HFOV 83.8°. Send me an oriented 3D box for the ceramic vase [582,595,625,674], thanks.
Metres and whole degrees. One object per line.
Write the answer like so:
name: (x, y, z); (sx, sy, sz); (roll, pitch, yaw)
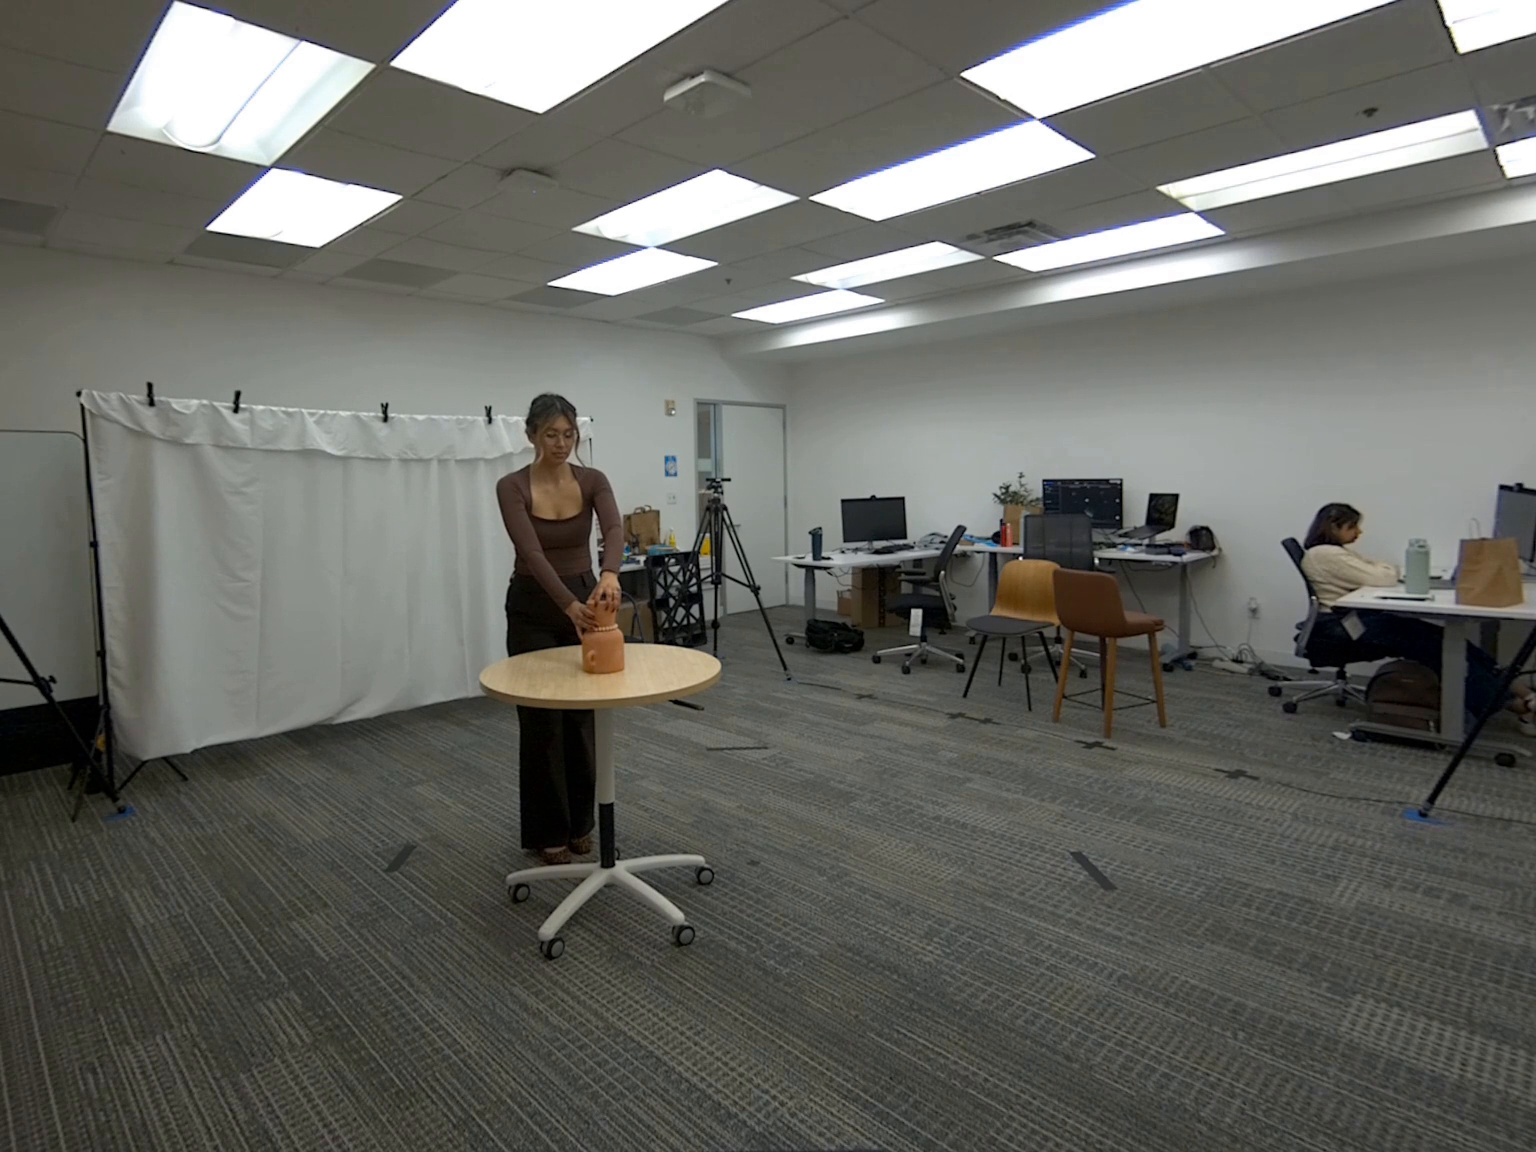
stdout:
ceramic vase: (-0.523, 0.189, 2.722); (0.132, 0.219, 0.162); (-5, 5, -20)
